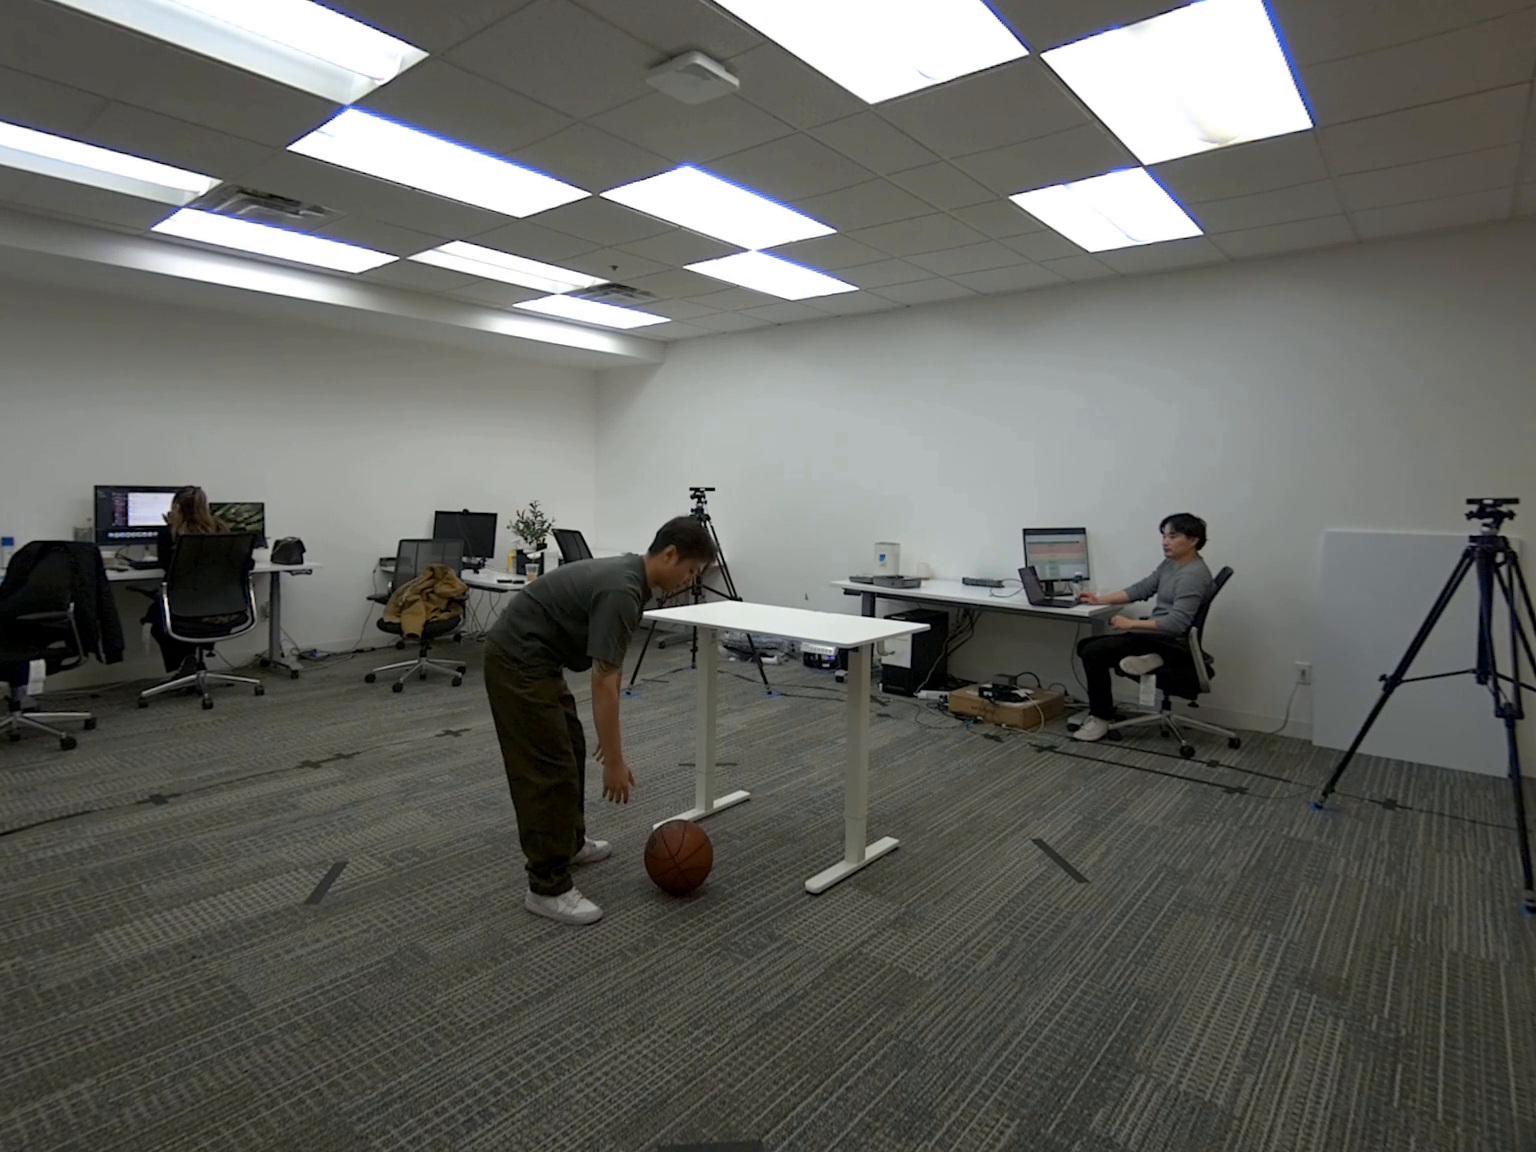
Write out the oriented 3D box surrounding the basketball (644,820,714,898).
[{"bbox_3d":[-0.317,0.959,2.929,0.235,0.235,0.237,1,4,-2],"label":"basketball"}]
